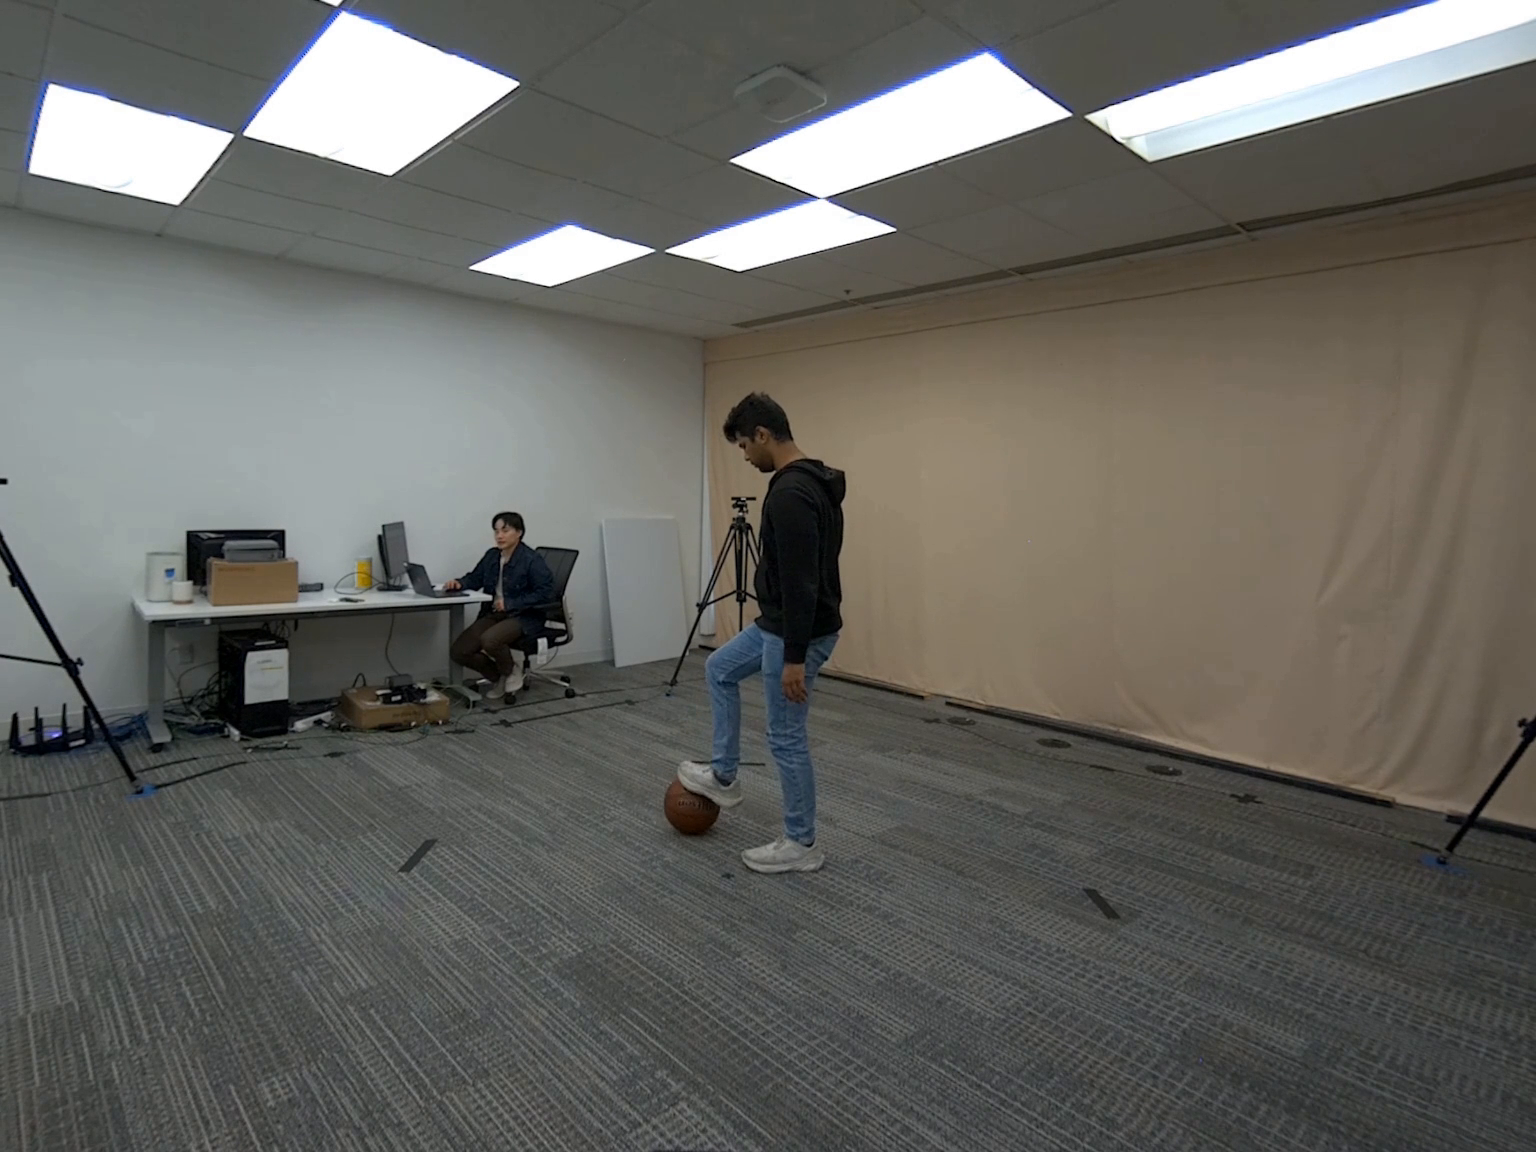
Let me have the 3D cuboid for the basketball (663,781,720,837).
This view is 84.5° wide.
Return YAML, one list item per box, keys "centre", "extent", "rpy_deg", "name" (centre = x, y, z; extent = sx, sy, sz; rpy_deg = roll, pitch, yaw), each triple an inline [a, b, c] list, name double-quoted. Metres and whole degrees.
- centre: [-0.324, 0.946, 3.513]
  extent: [0.236, 0.235, 0.237]
  rpy_deg: [1, 4, -1]
  name: "basketball"
